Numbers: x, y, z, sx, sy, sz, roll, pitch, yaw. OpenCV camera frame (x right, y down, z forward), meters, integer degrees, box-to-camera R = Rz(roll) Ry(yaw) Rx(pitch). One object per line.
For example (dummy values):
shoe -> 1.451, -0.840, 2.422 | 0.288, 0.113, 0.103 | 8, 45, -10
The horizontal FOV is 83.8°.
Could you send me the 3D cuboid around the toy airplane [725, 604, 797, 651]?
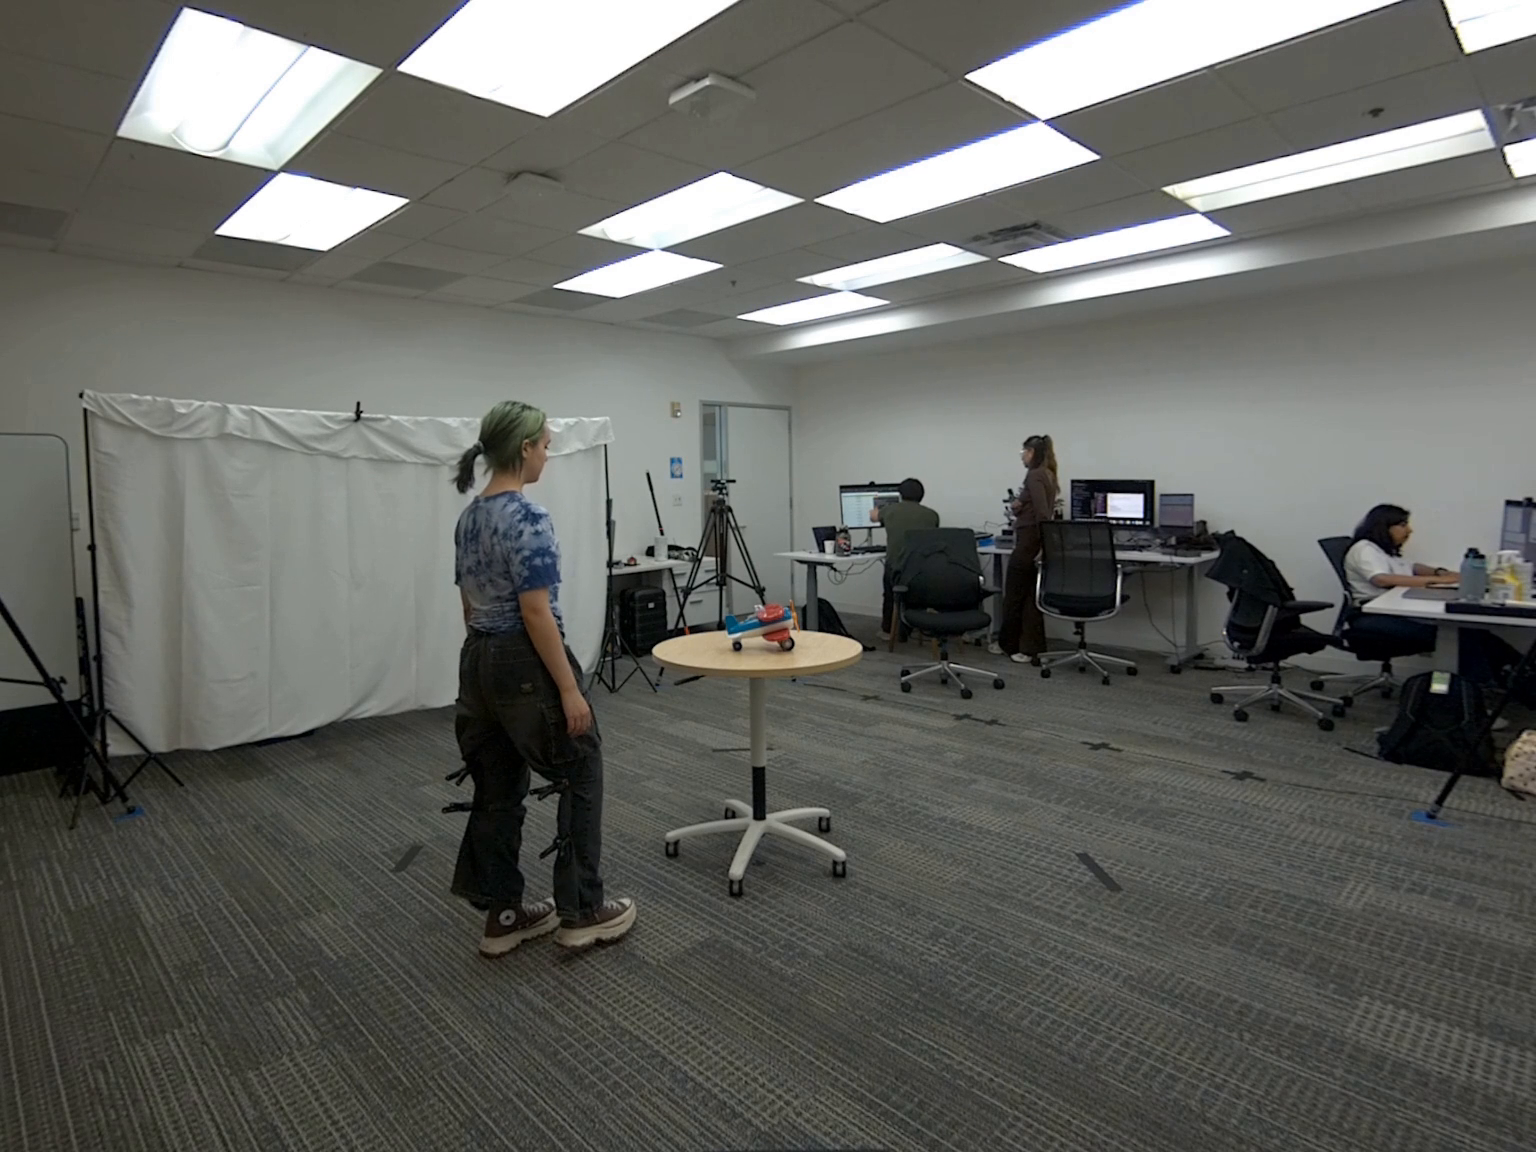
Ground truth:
toy airplane -> -0.014, 0.189, 3.068 | 0.253, 0.156, 0.258 | -3, 5, -33
